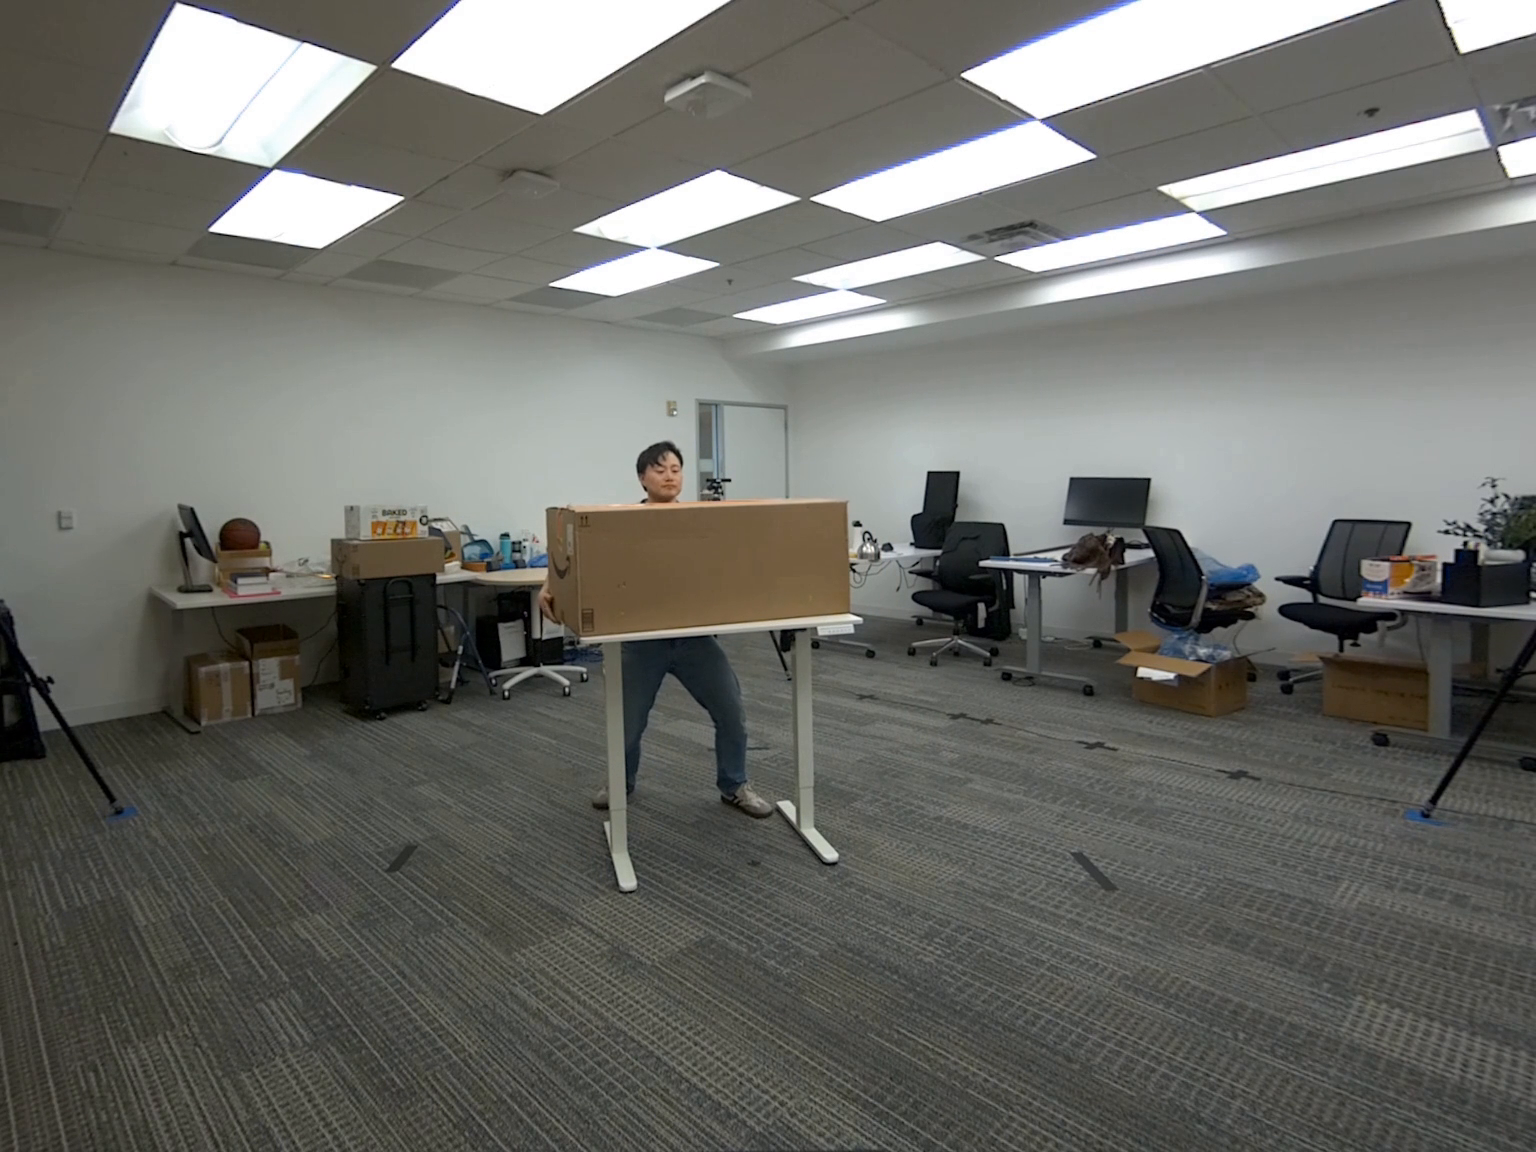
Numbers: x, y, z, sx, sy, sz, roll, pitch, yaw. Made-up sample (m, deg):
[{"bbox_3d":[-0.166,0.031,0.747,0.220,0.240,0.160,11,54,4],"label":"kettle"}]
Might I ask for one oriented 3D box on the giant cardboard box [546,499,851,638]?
[{"bbox_3d":[-0.278,-0.066,3.259,1.007,0.425,0.590,-4,5,-21],"label":"giant cardboard box"}]
